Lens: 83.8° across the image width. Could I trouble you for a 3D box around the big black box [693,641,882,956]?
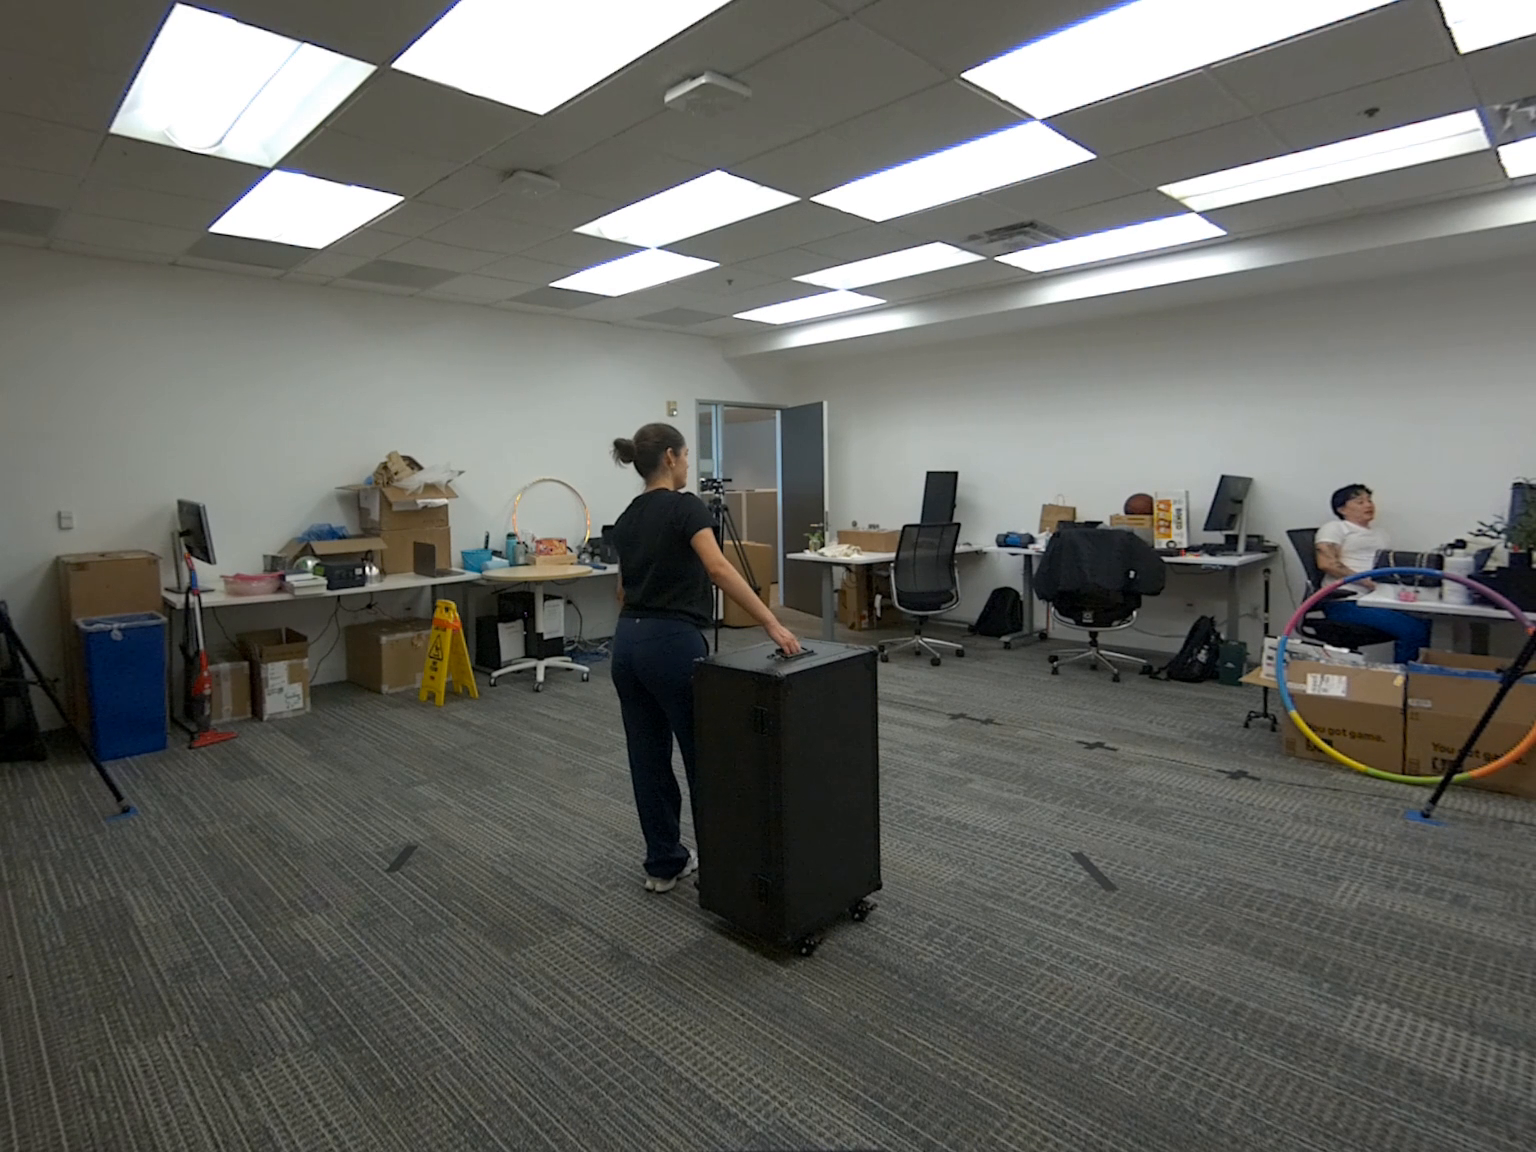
[{"bbox_3d":[0.056,0.665,2.695,0.408,0.859,0.507,1,5,43],"label":"big black box"}]
